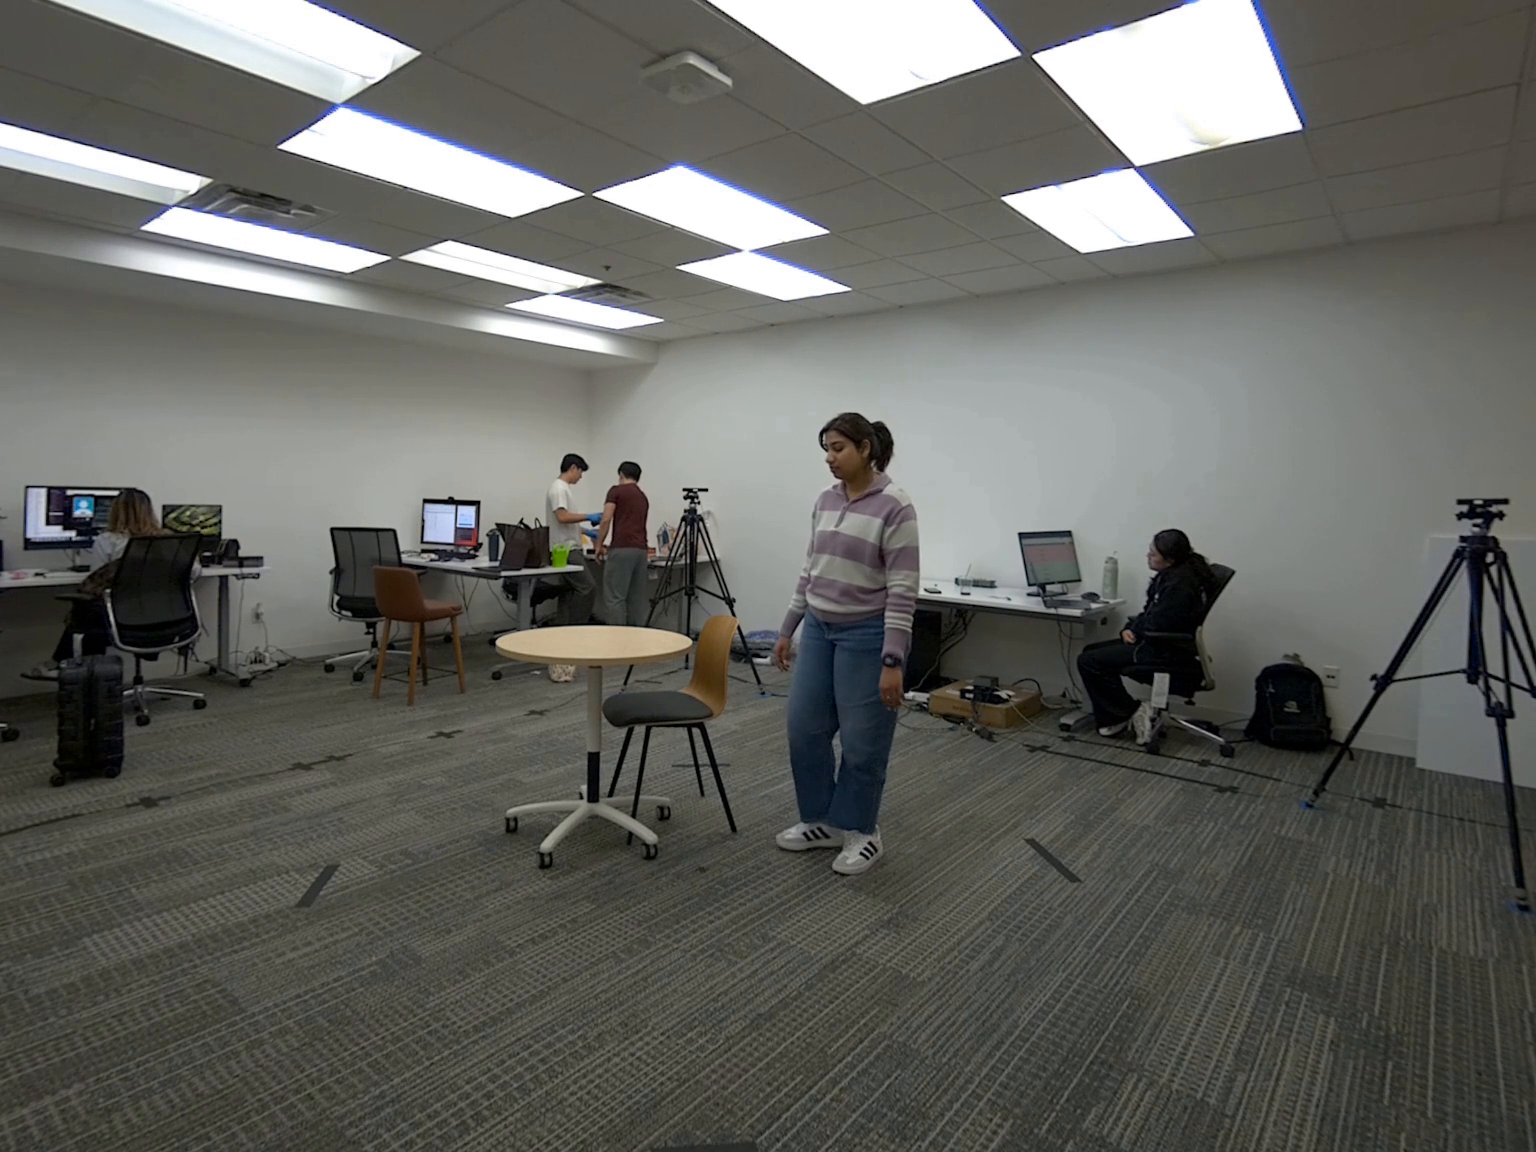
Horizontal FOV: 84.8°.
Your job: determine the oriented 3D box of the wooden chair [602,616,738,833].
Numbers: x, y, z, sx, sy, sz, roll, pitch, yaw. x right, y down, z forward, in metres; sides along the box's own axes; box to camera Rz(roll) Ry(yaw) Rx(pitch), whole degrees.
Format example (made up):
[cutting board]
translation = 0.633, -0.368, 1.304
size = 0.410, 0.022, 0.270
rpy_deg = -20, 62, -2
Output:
[wooden chair]
translation = -0.430, 0.595, 3.557
size = 0.511, 0.876, 0.490
rpy_deg = 4, 2, -22
